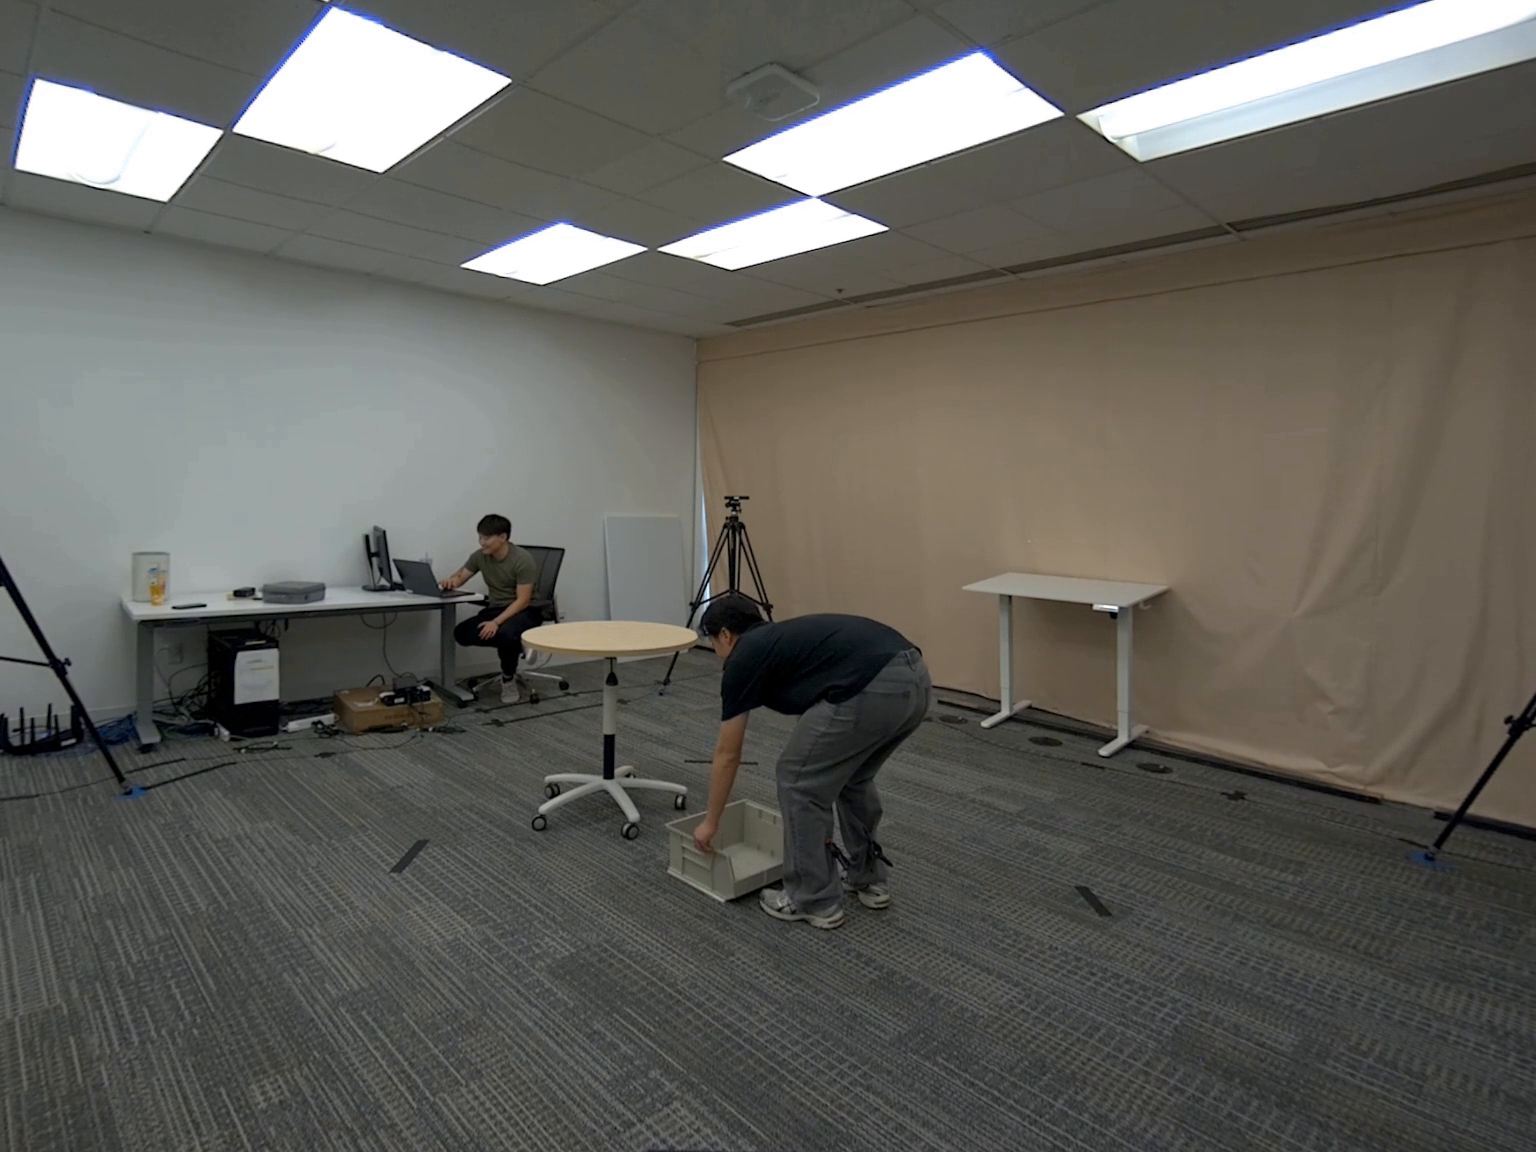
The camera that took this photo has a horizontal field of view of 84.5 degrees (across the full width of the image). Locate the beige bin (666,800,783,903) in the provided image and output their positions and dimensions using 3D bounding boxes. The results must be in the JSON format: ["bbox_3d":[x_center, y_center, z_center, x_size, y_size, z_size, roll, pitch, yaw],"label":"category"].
[{"bbox_3d":[-0.109,1.009,3.123,0.413,0.188,0.387,-5,7,-45],"label":"beige bin"}]
